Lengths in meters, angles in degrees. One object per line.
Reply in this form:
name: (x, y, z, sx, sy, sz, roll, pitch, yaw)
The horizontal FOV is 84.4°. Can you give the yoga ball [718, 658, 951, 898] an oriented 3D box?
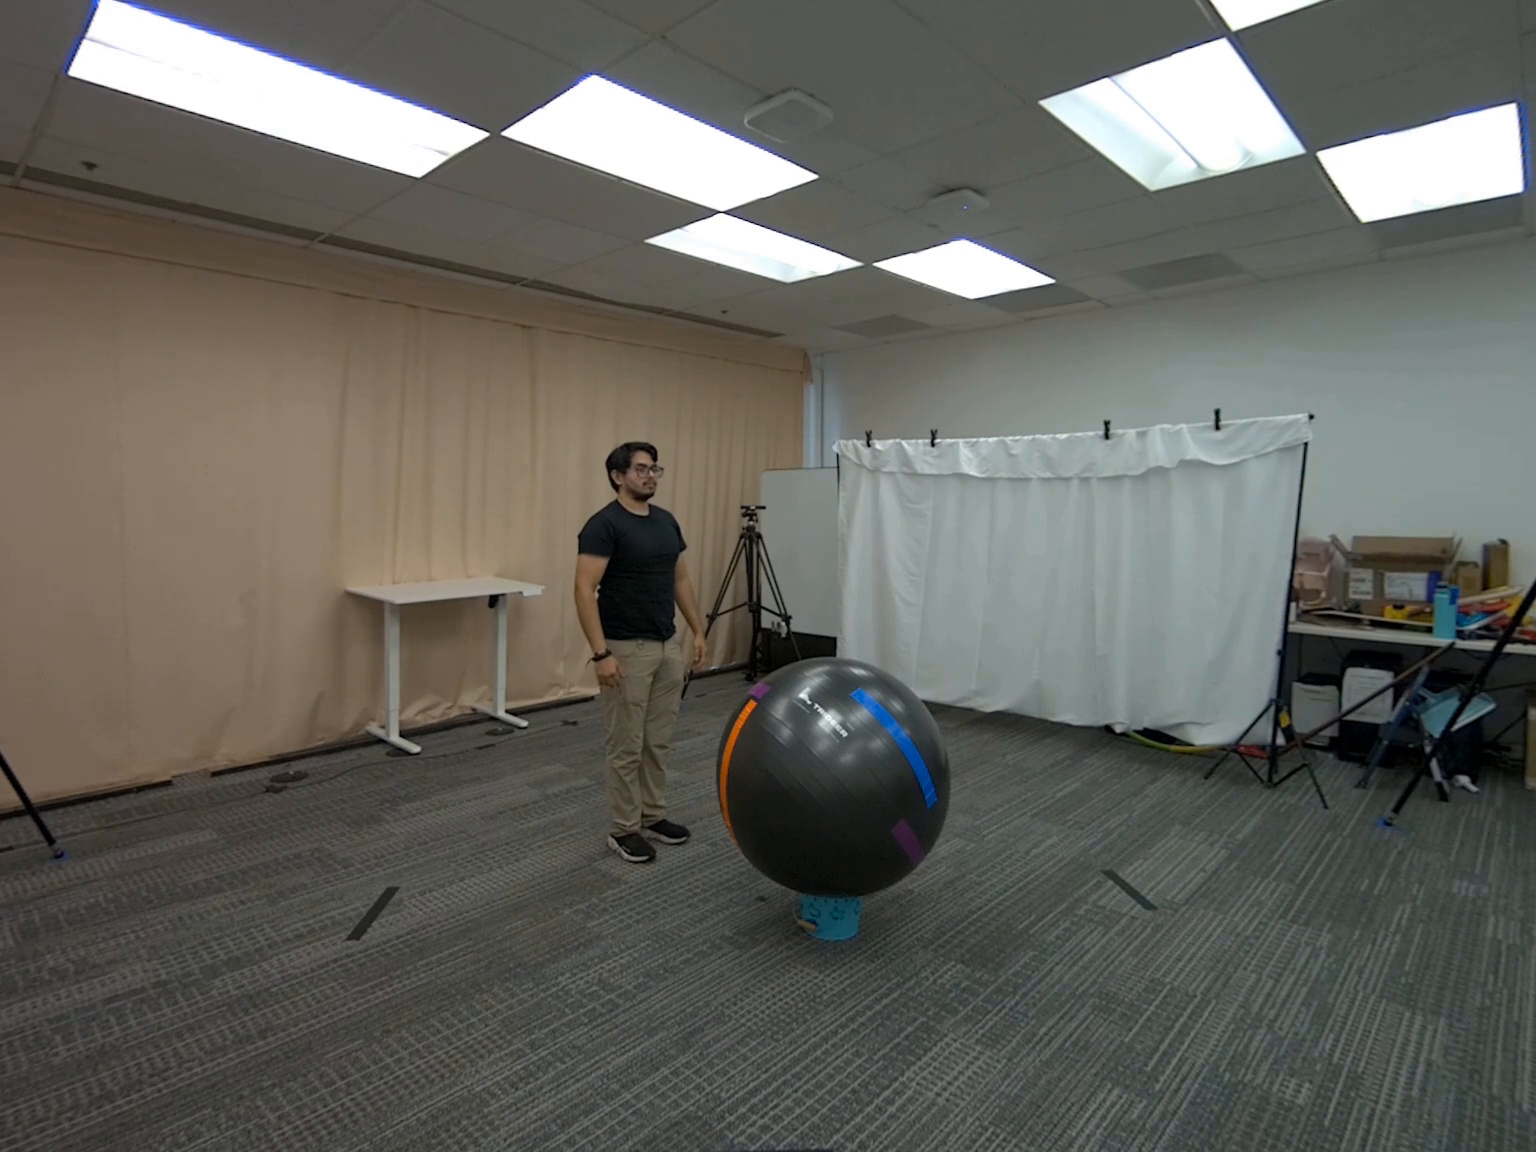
yoga ball: (0.212, 0.650, 2.762, 0.757, 0.756, 0.761, 0, 4, -2)
